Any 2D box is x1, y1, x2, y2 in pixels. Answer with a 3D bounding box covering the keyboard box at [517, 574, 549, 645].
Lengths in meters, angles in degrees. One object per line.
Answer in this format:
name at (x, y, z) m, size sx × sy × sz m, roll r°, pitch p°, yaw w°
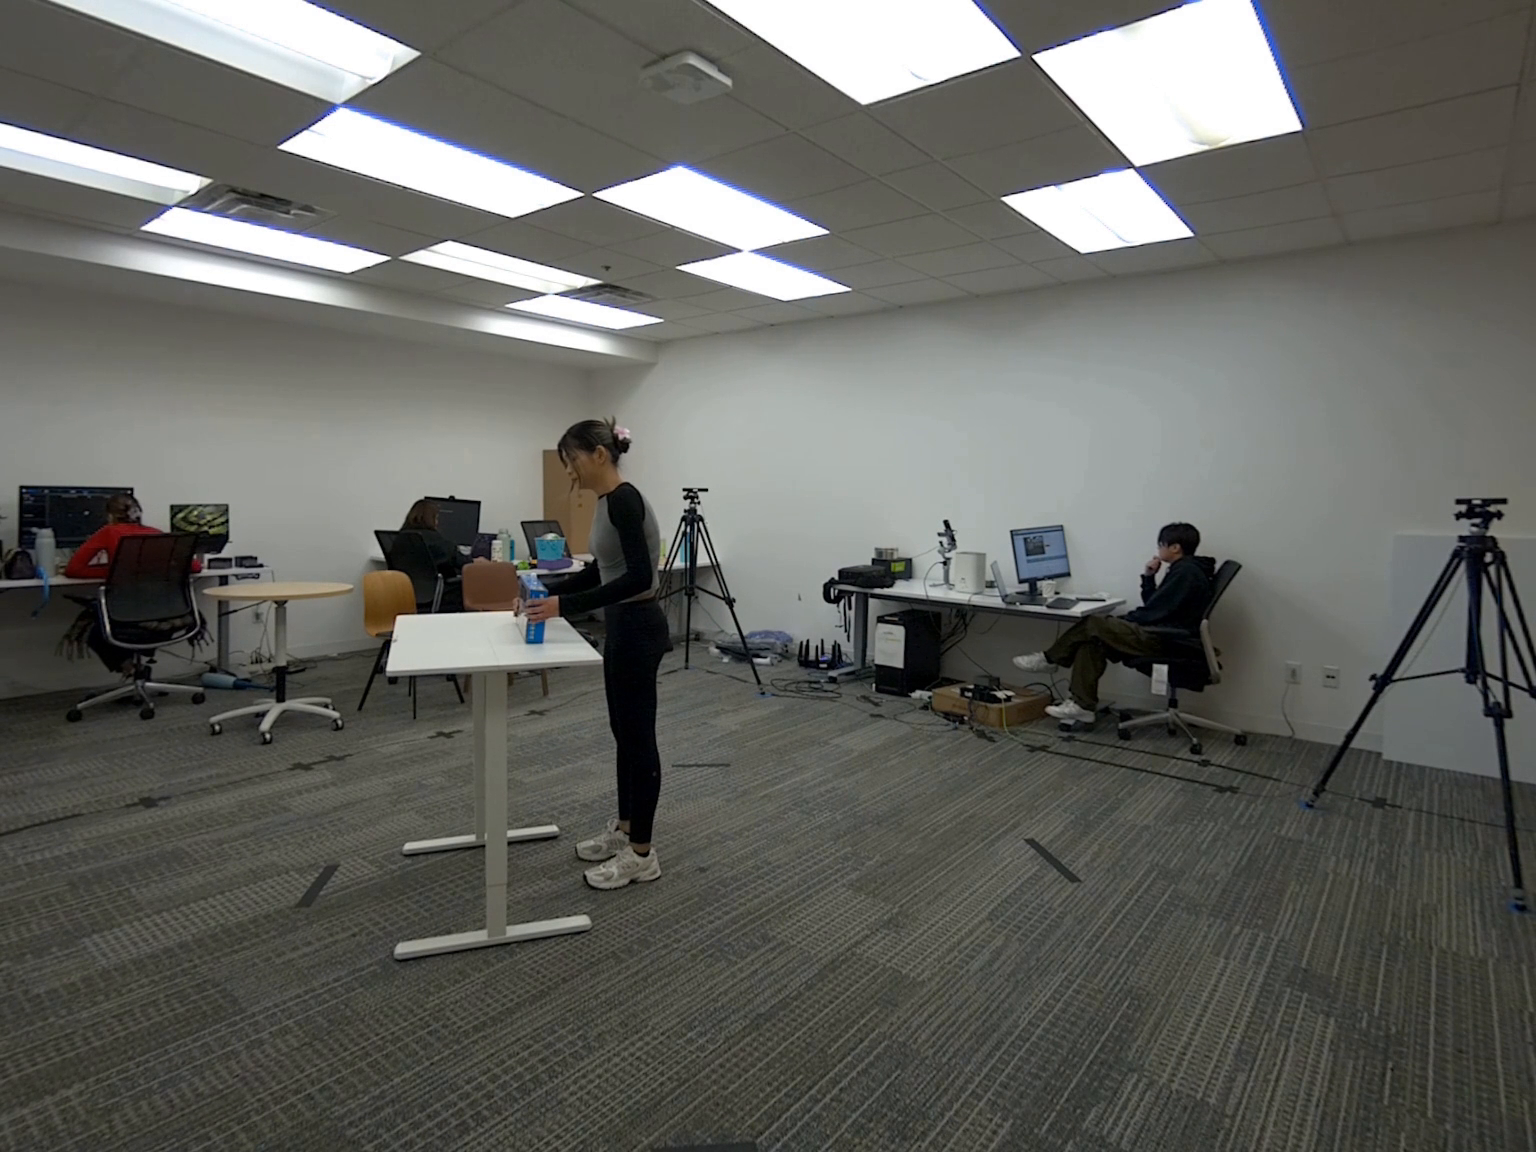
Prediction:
keyboard box at (-0.836, 0.103, 2.948) m, size 0.058 × 0.175 × 0.448 m, roll 5°, pitch 5°, yaw -21°
